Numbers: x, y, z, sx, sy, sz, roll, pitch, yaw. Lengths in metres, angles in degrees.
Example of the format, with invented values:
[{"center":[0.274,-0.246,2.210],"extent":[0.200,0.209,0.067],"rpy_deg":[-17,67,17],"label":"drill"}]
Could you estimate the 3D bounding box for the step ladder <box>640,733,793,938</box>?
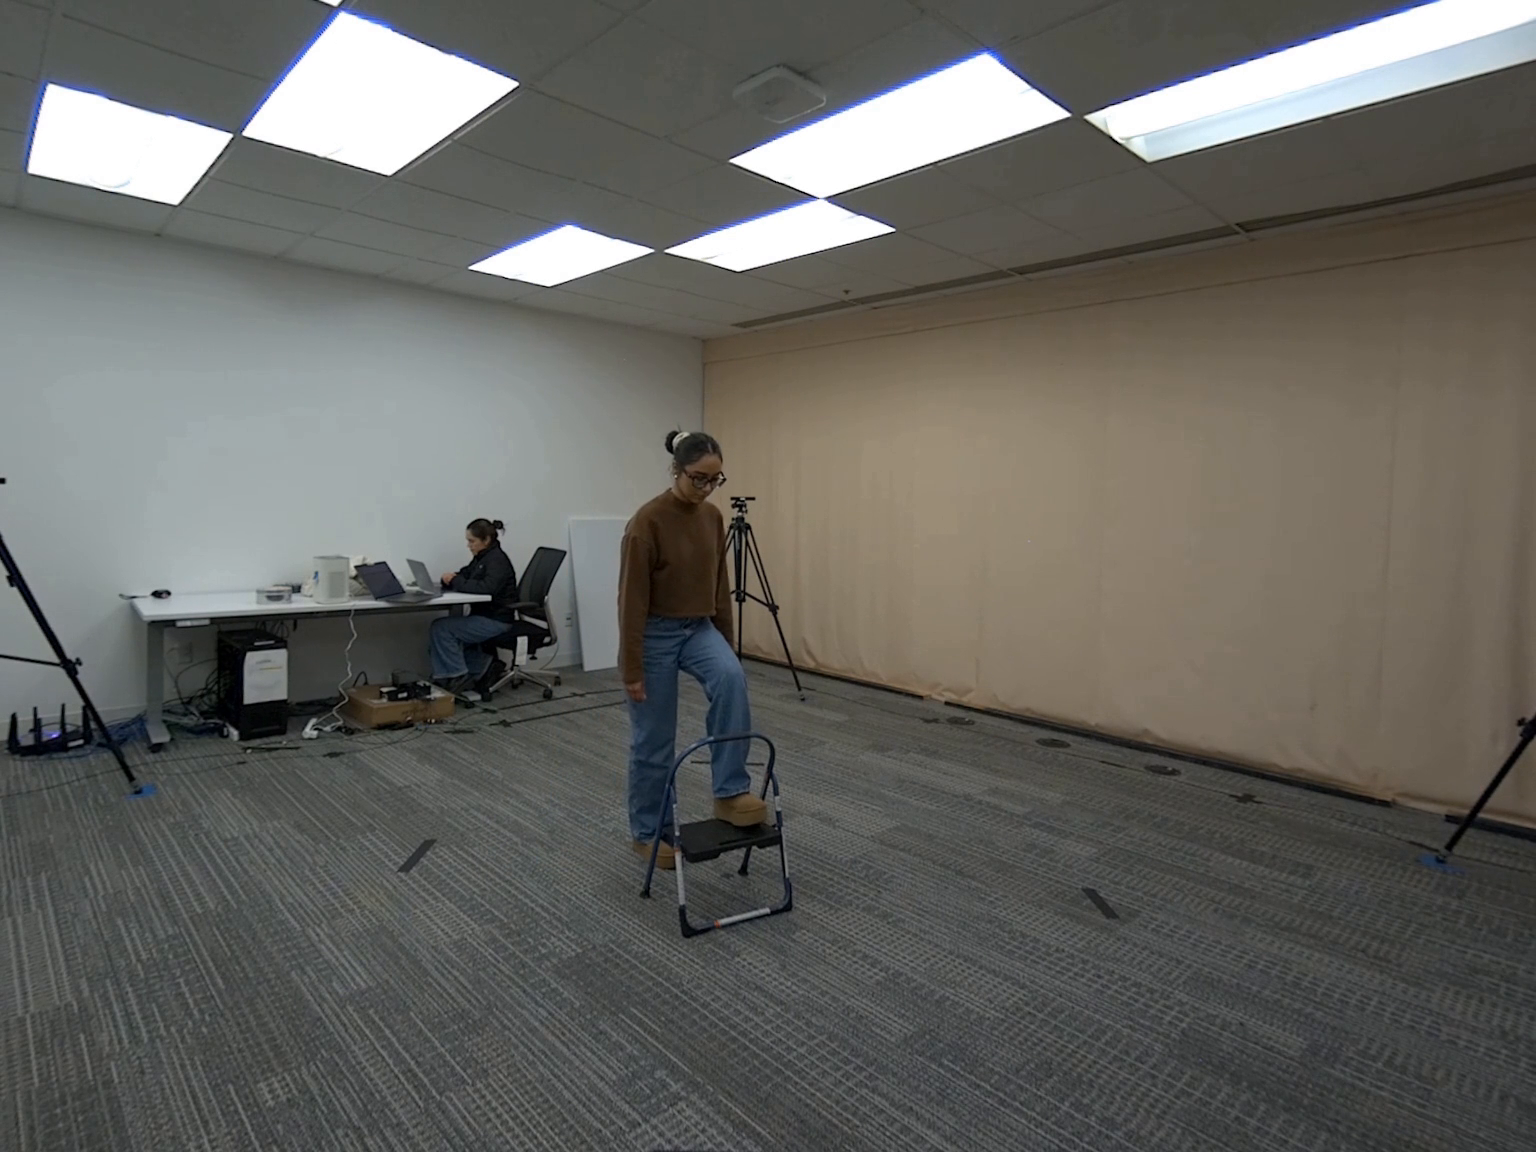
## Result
[{"center":[-0.175,0.823,2.879],"extent":[0.421,0.605,0.357],"rpy_deg":[0,4,-32],"label":"step ladder"}]
